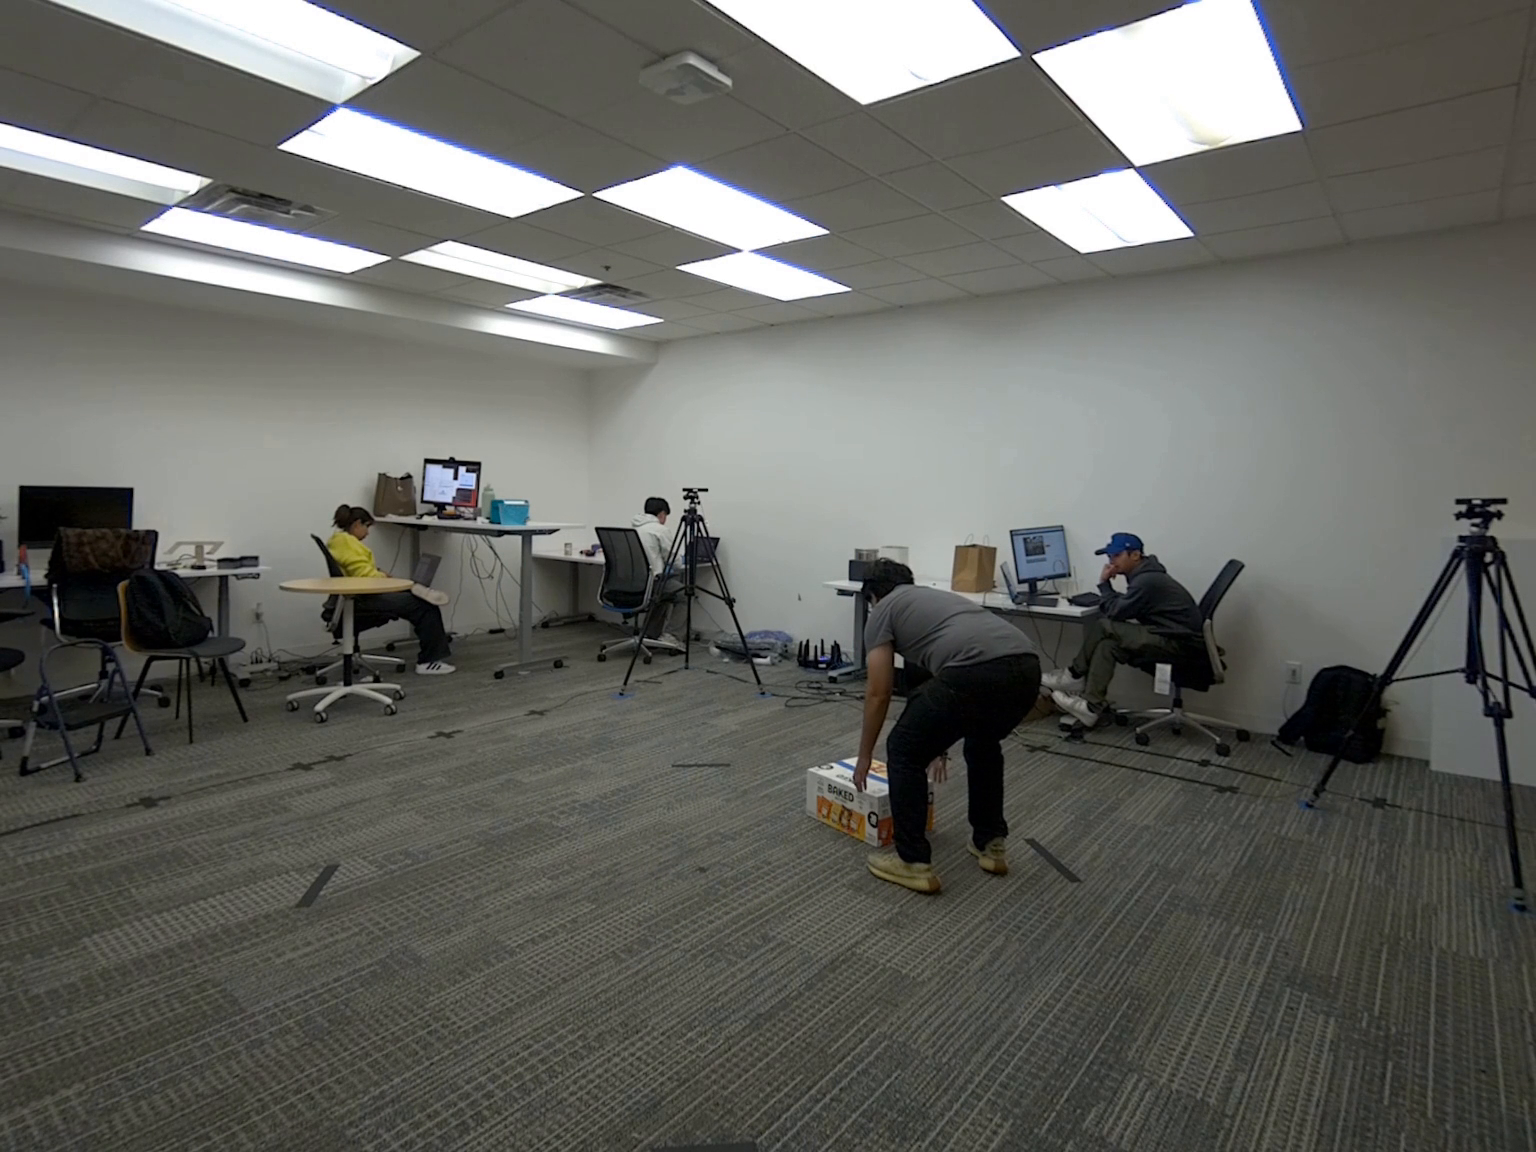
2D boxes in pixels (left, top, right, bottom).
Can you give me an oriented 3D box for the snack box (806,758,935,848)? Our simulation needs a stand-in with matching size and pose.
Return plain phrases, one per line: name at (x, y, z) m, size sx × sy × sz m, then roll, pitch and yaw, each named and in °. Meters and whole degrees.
snack box at (0.417, 0.933, 3.584) m, size 0.330 × 0.205 × 0.419 m, roll -3°, pitch 7°, yaw -39°
